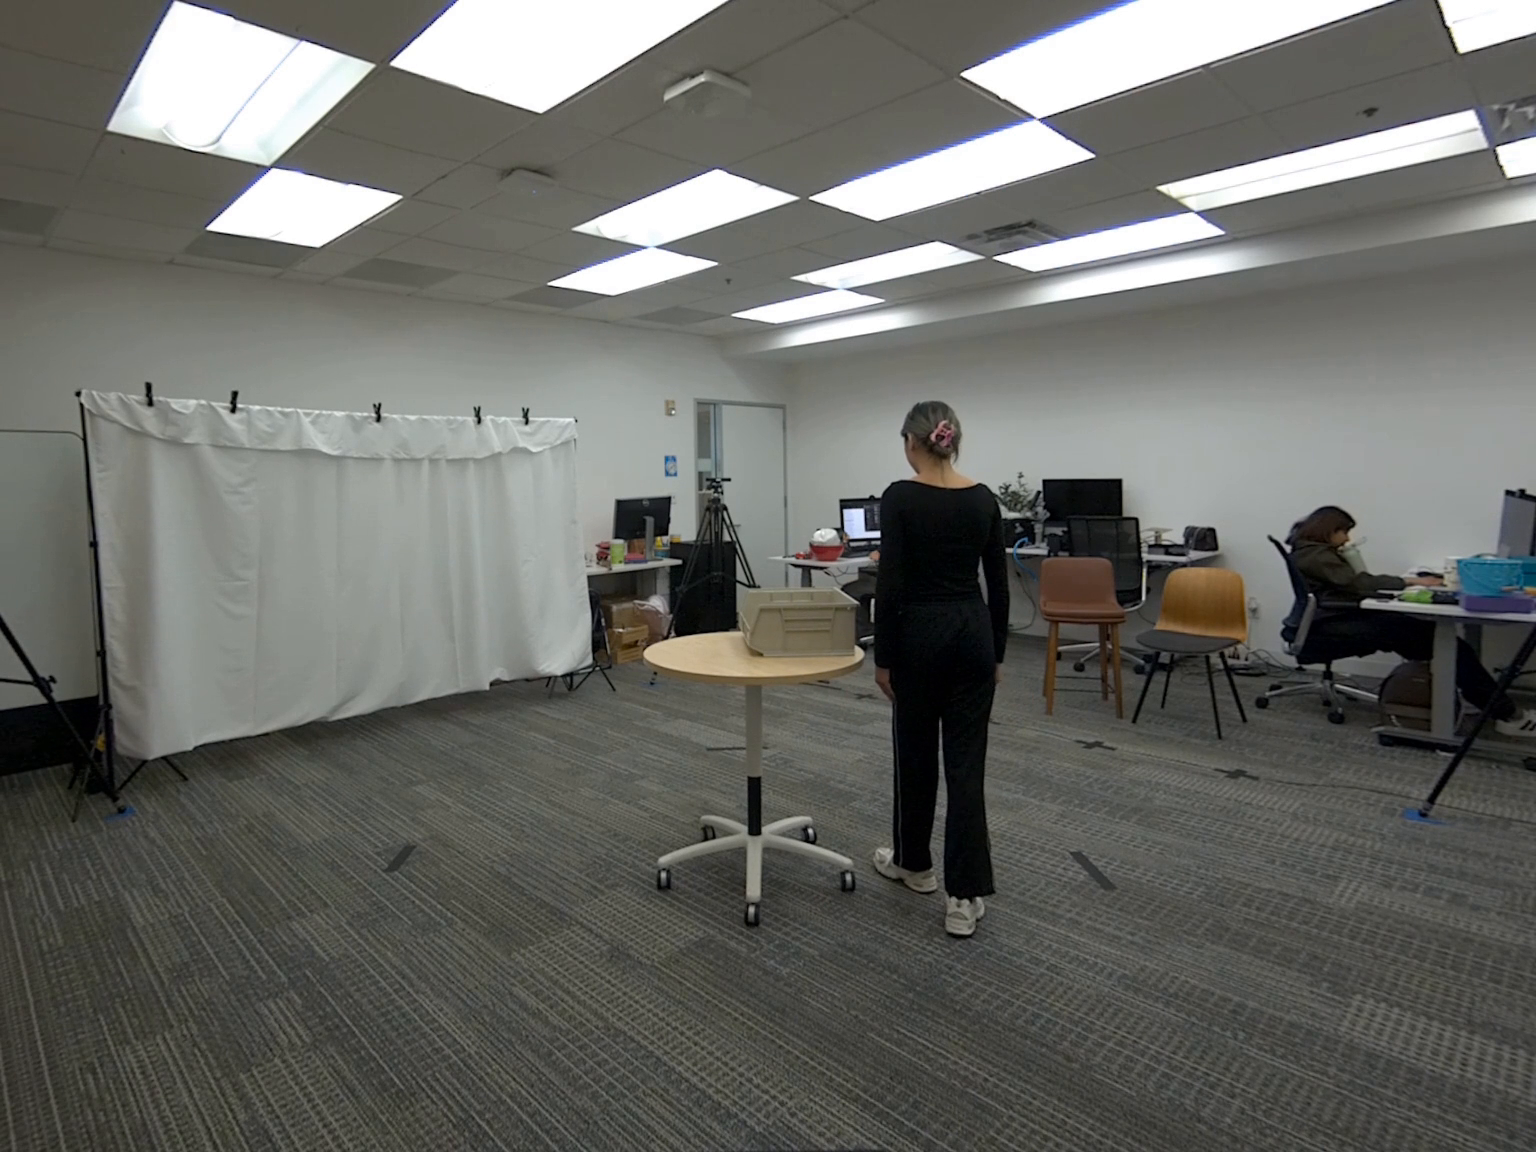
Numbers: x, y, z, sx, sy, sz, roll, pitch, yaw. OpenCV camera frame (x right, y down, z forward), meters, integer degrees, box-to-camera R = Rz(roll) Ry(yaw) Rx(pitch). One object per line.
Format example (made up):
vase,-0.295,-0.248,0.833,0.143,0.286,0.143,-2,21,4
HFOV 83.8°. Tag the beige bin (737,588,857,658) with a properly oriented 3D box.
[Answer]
beige bin,0.102,0.161,3.085,0.376,0.188,0.426,0,6,-5
